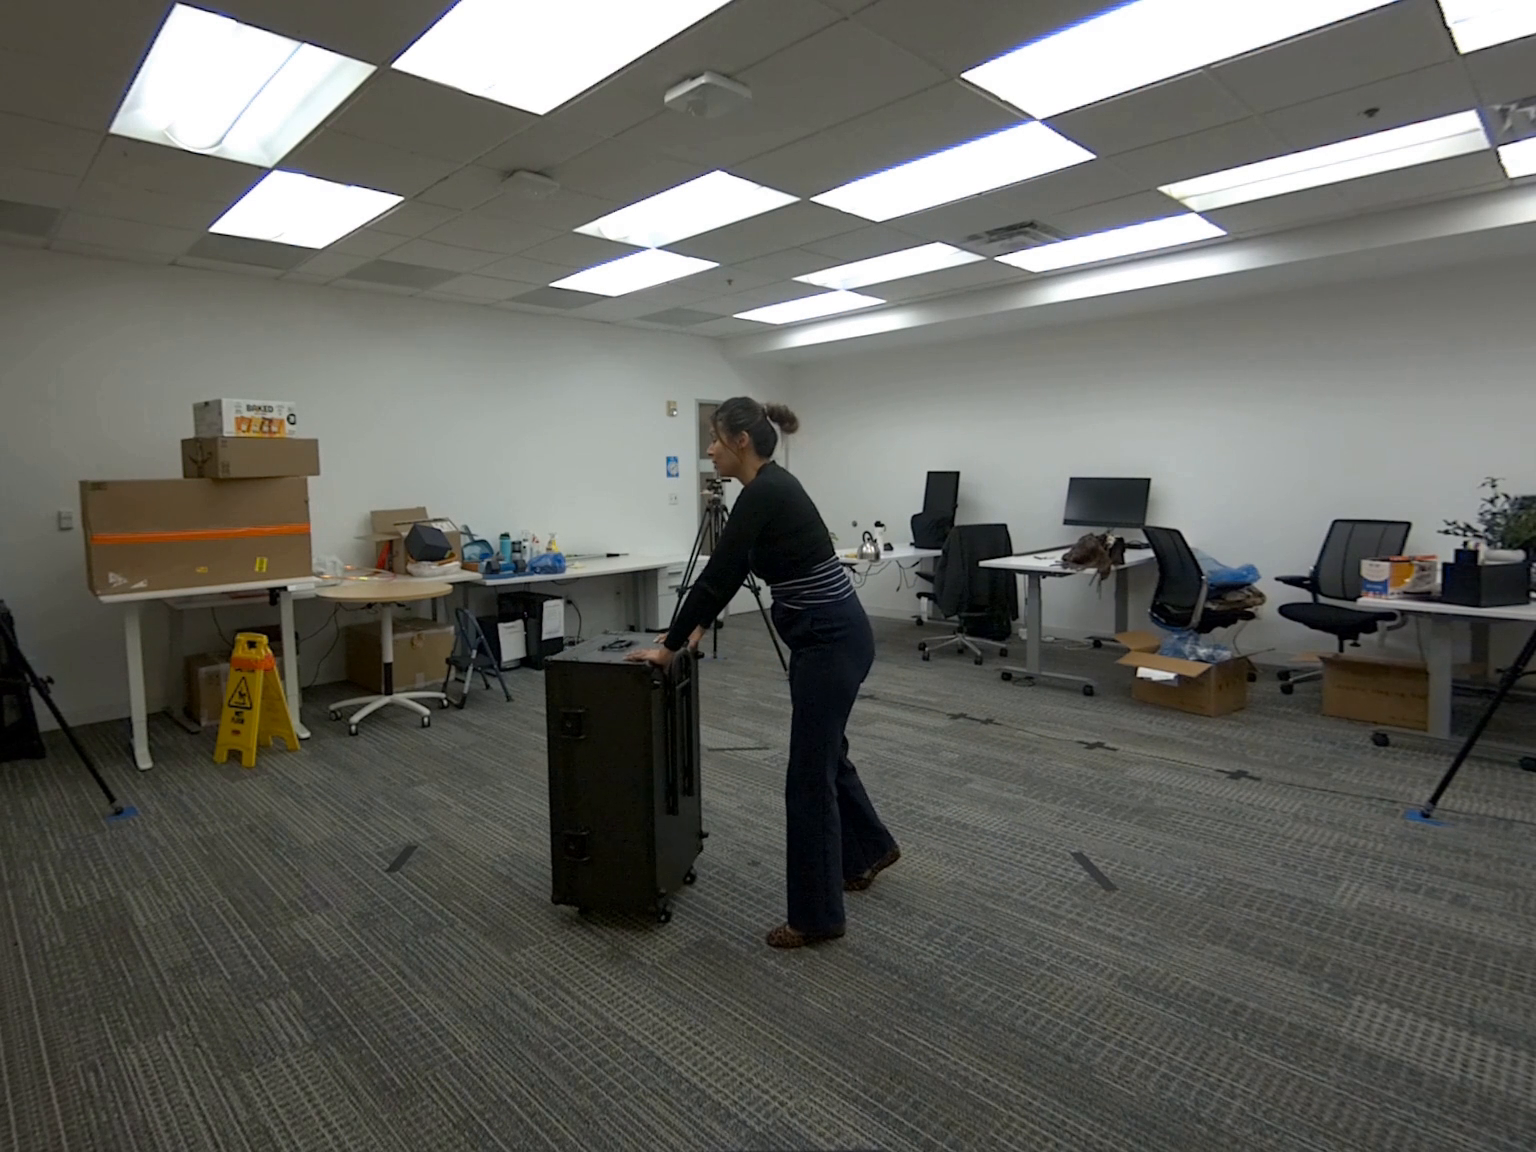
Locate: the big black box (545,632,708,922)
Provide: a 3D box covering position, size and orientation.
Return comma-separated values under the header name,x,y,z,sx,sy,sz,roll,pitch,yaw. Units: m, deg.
name,x,y,z,sx,sy,sz,roll,pitch,yaw
big black box,-0.447,0.655,2.859,0.402,0.858,0.516,1,4,13
